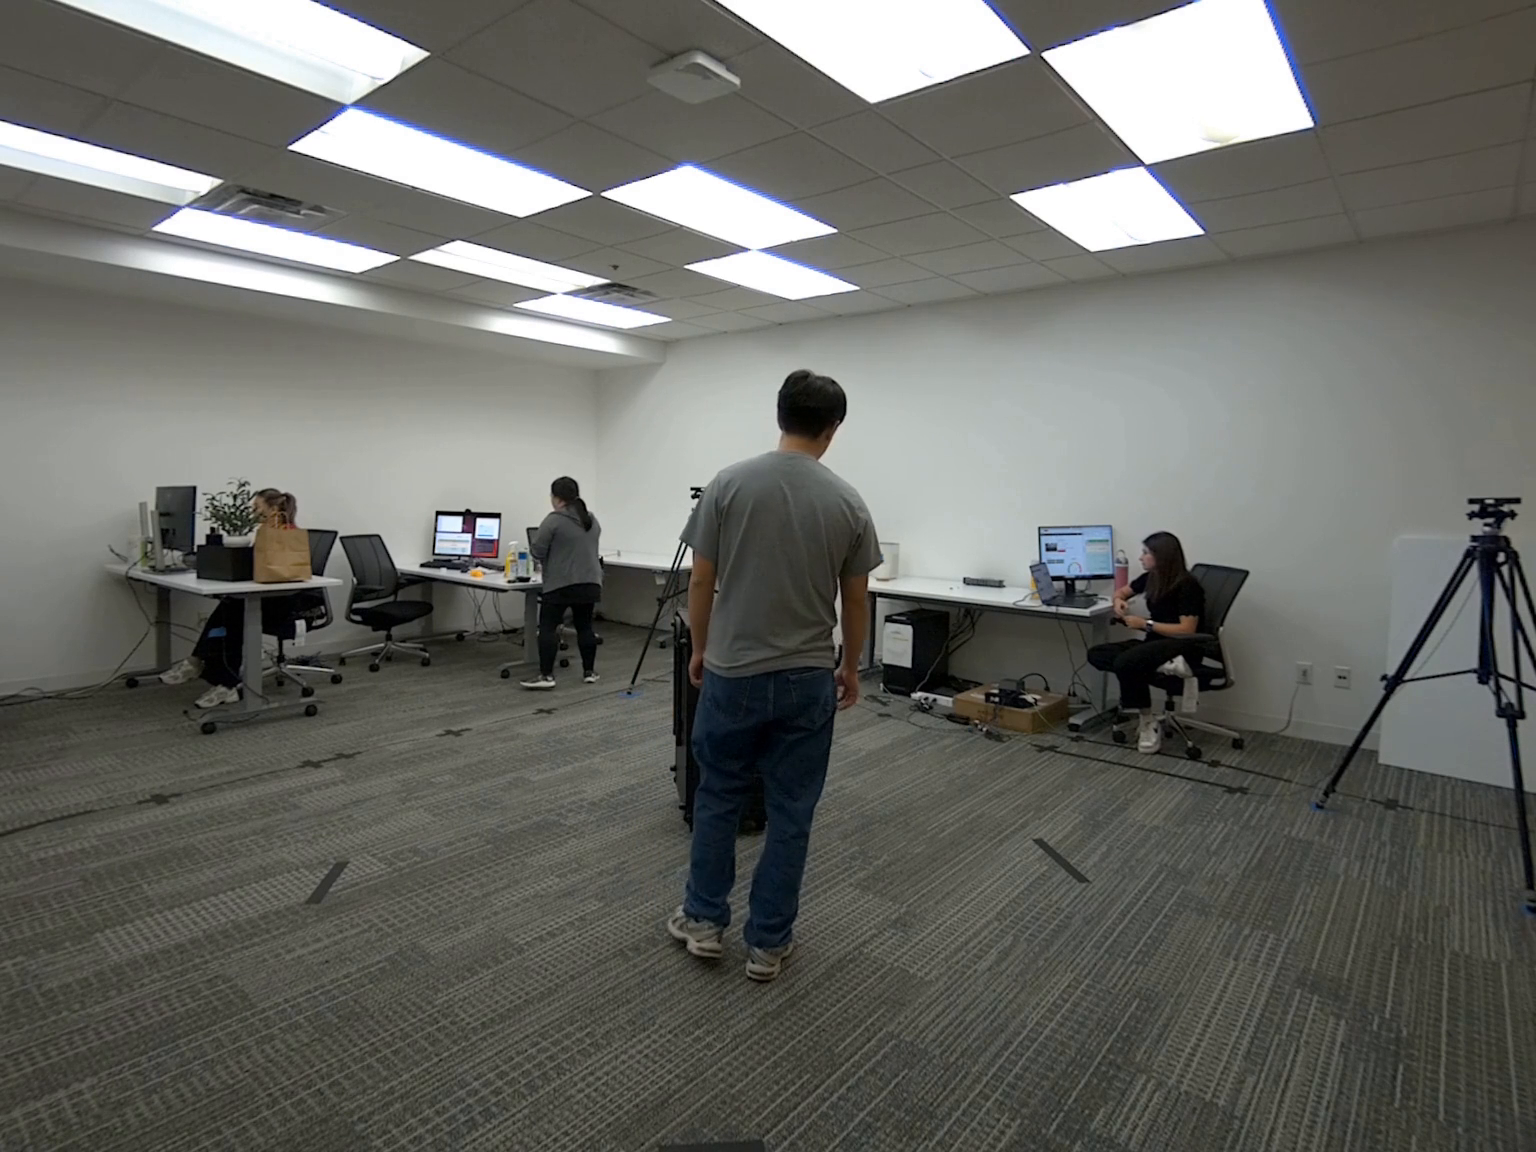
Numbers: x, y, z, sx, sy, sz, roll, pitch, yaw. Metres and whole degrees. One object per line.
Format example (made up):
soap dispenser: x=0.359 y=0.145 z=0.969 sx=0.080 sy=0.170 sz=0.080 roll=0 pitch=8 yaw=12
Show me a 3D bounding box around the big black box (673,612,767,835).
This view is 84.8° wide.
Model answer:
big black box: x=-0.214 y=0.595 z=3.587 sx=0.392 sy=0.859 sz=0.528 roll=0 pitch=3 yaw=-10
